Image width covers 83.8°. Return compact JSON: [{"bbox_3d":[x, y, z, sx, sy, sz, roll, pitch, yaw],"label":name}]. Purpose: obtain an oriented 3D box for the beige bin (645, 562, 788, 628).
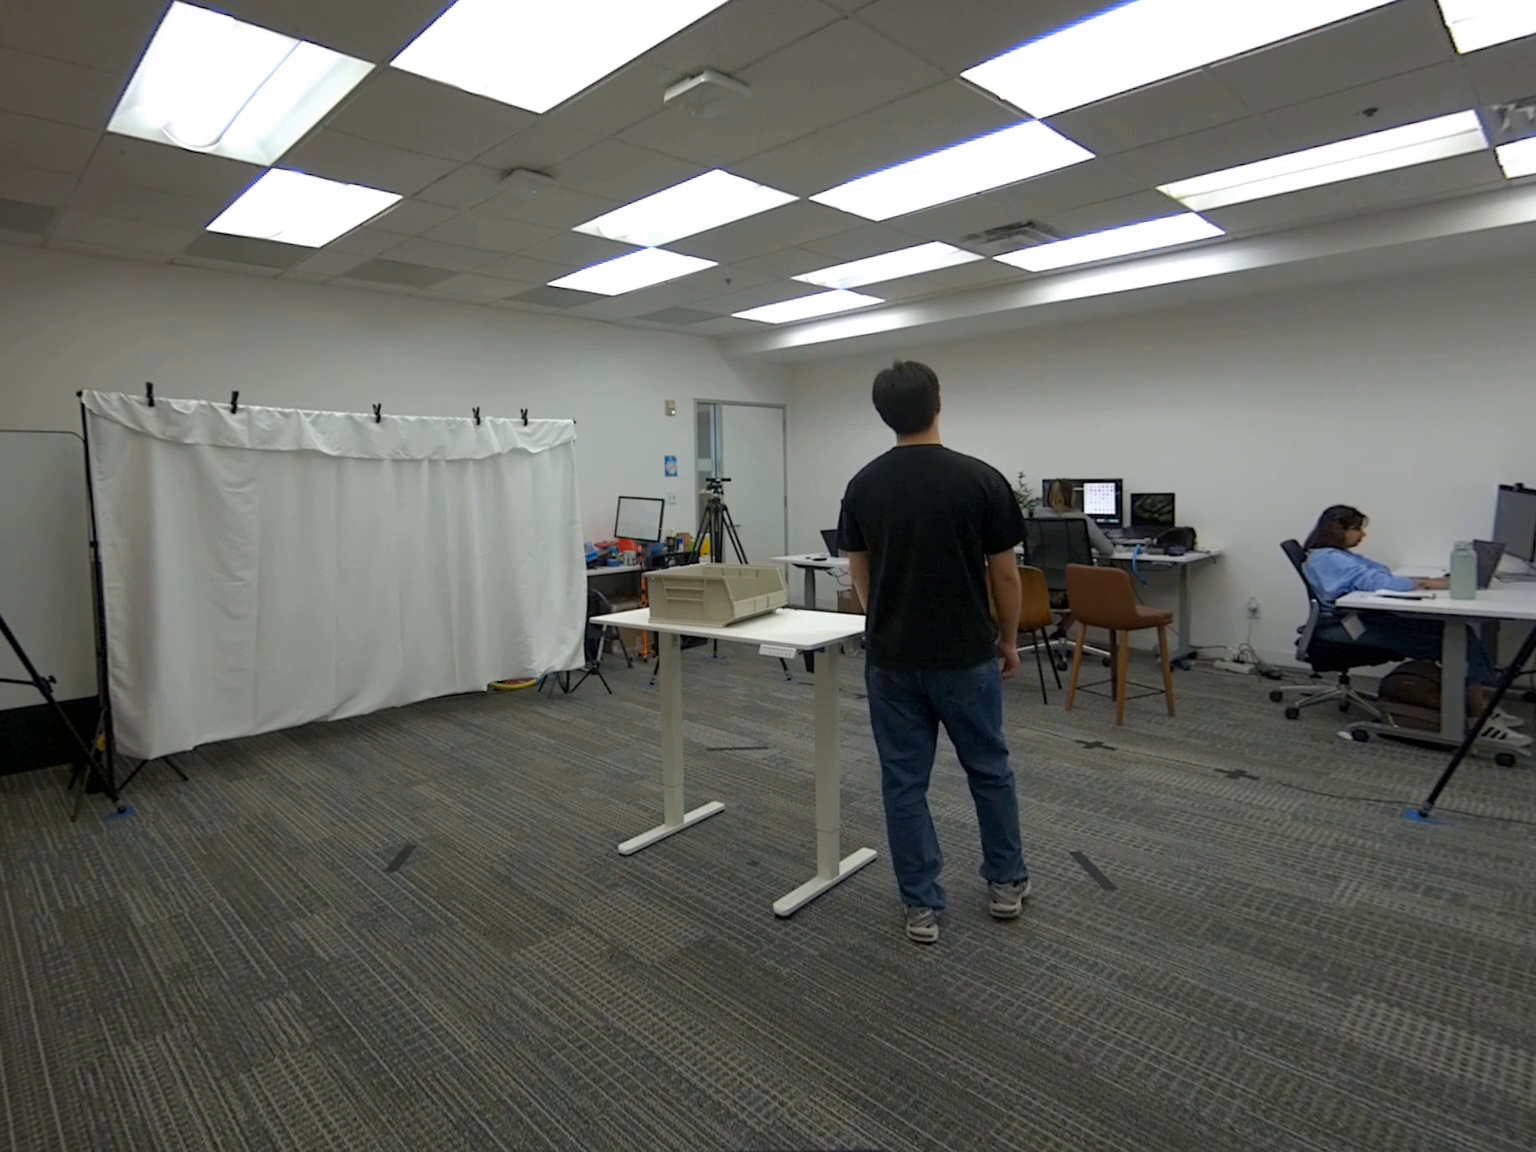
[{"bbox_3d":[-0.183,0.068,3.166,0.387,0.188,0.413,1,6,29],"label":"beige bin"}]
